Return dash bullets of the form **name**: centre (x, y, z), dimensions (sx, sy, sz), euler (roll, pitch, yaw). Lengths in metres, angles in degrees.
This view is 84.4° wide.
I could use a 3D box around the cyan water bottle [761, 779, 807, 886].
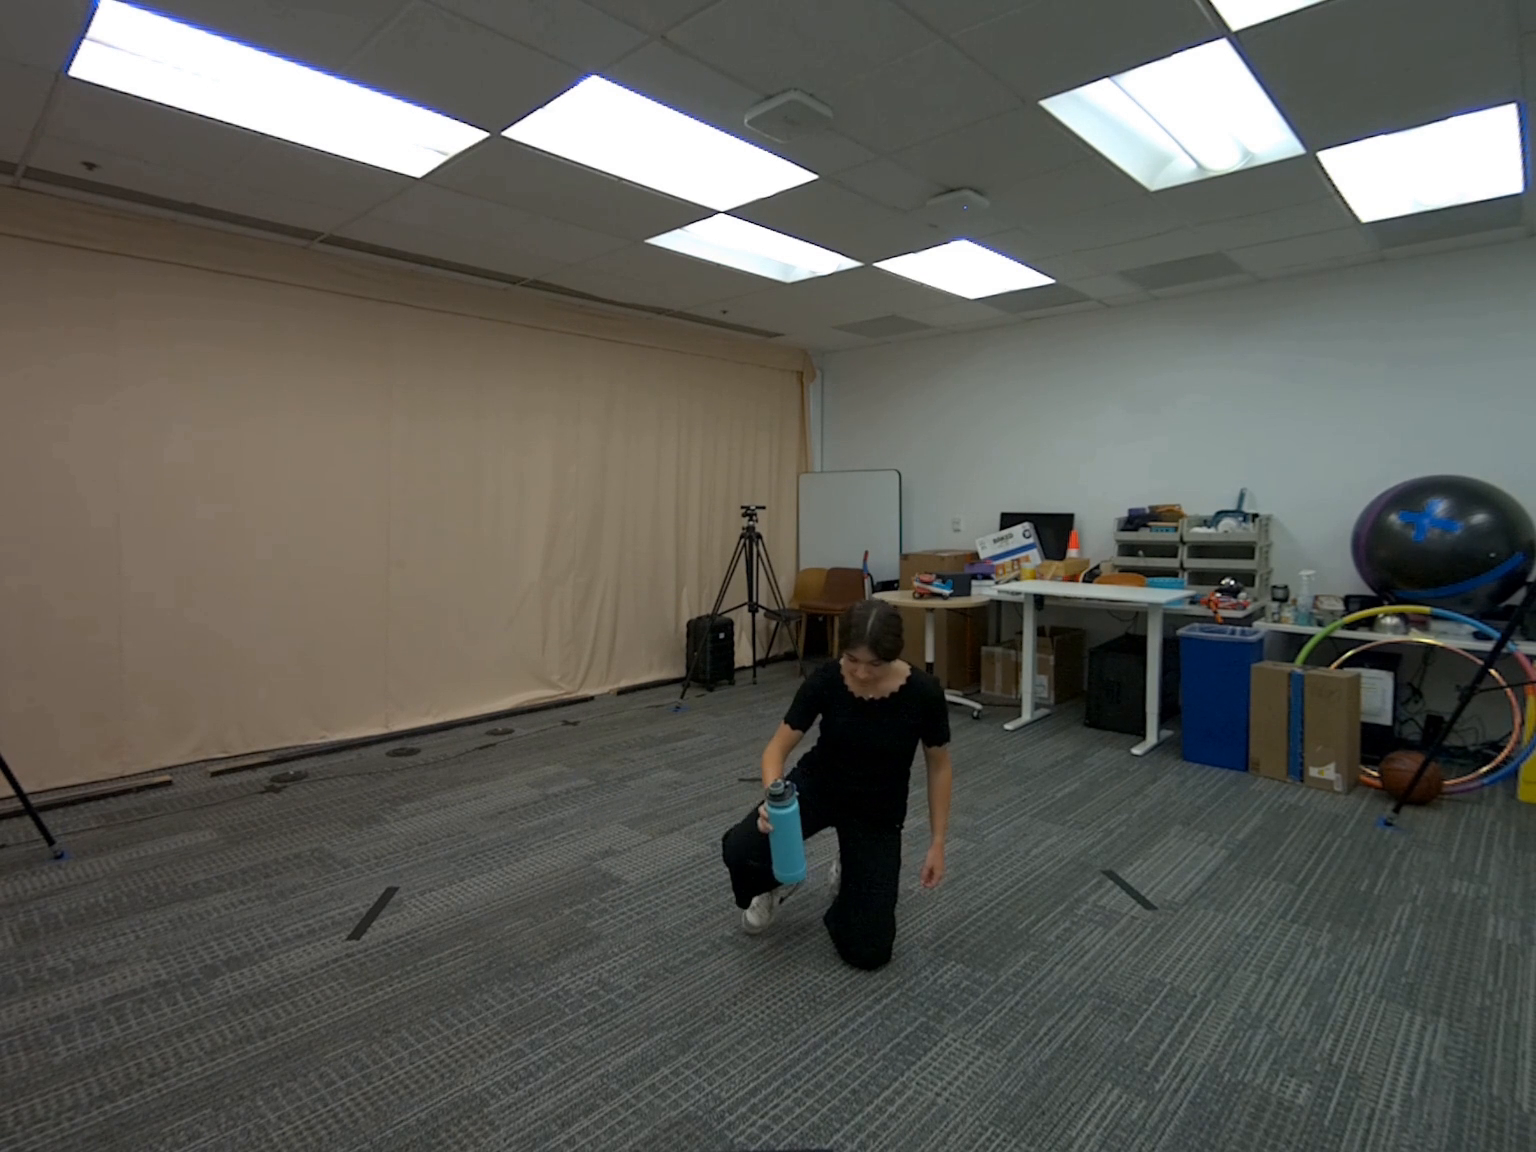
- **cyan water bottle**: centre (0.046, 0.671, 2.263), dimensions (0.092, 0.280, 0.093), euler (-6, 15, 0)
